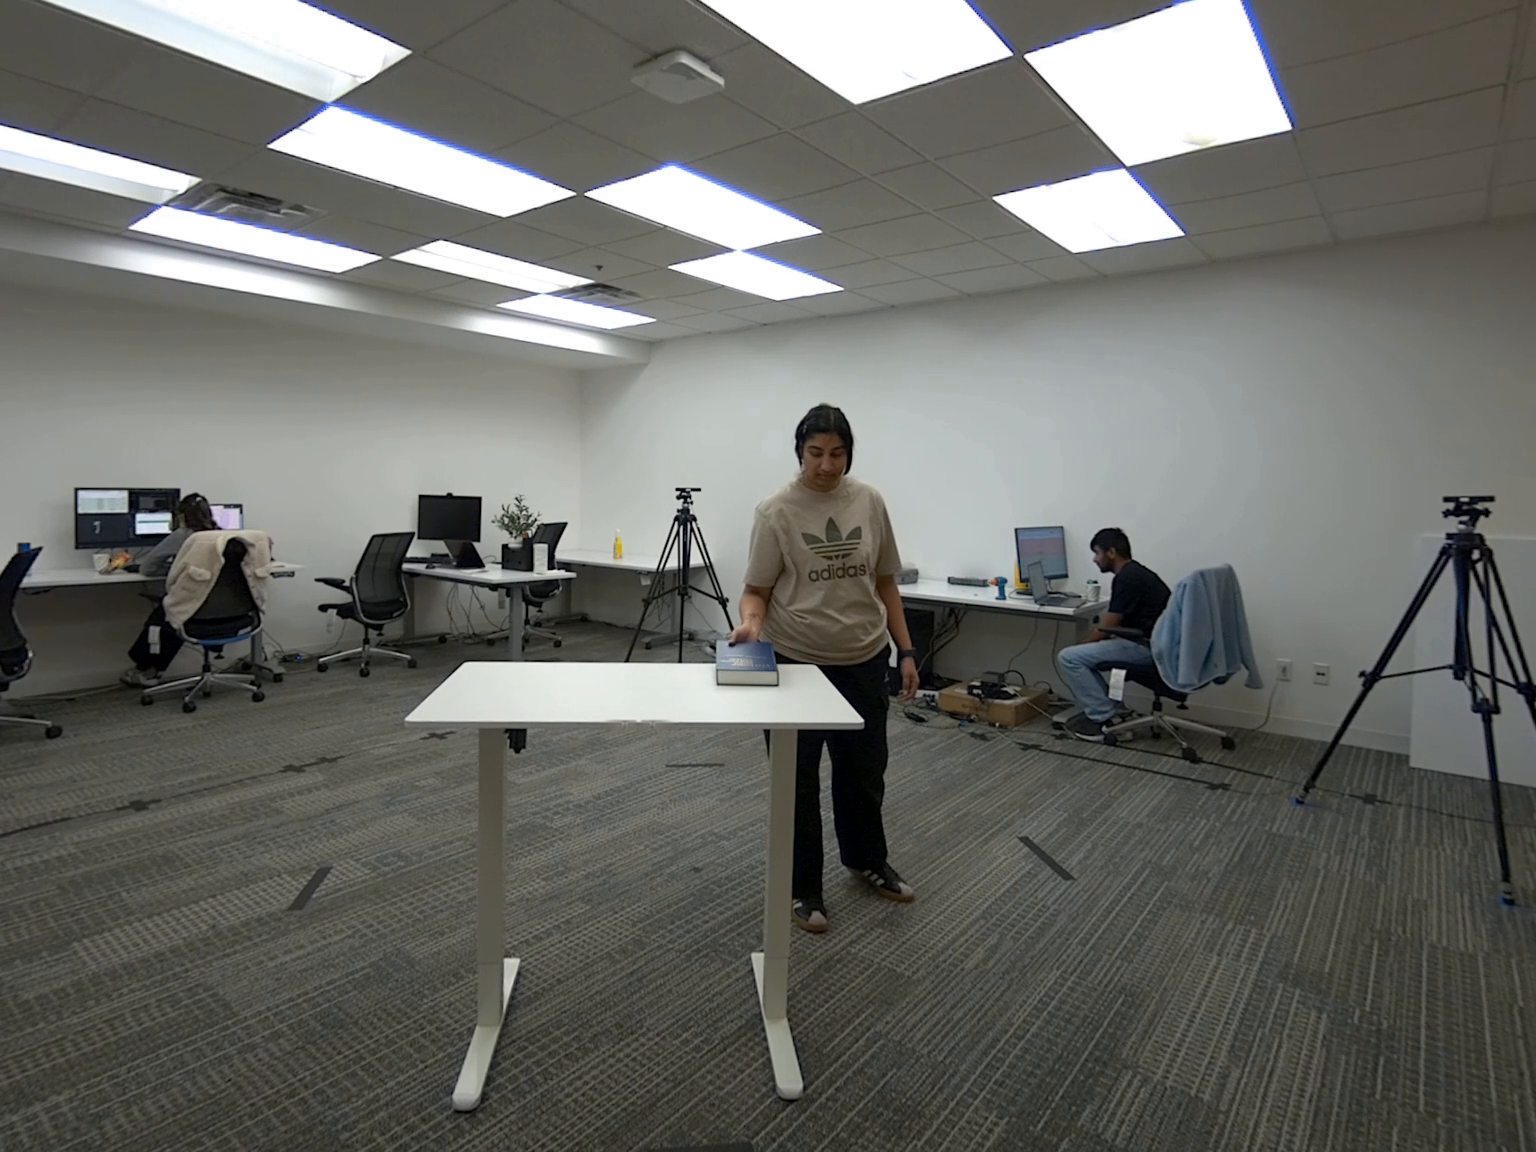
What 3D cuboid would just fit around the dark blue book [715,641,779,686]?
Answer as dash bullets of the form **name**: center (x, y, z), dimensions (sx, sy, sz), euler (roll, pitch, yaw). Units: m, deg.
- **dark blue book**: center (-0.080, 0.239, 2.297), dimensions (0.162, 0.045, 0.249), euler (2, 12, -6)
